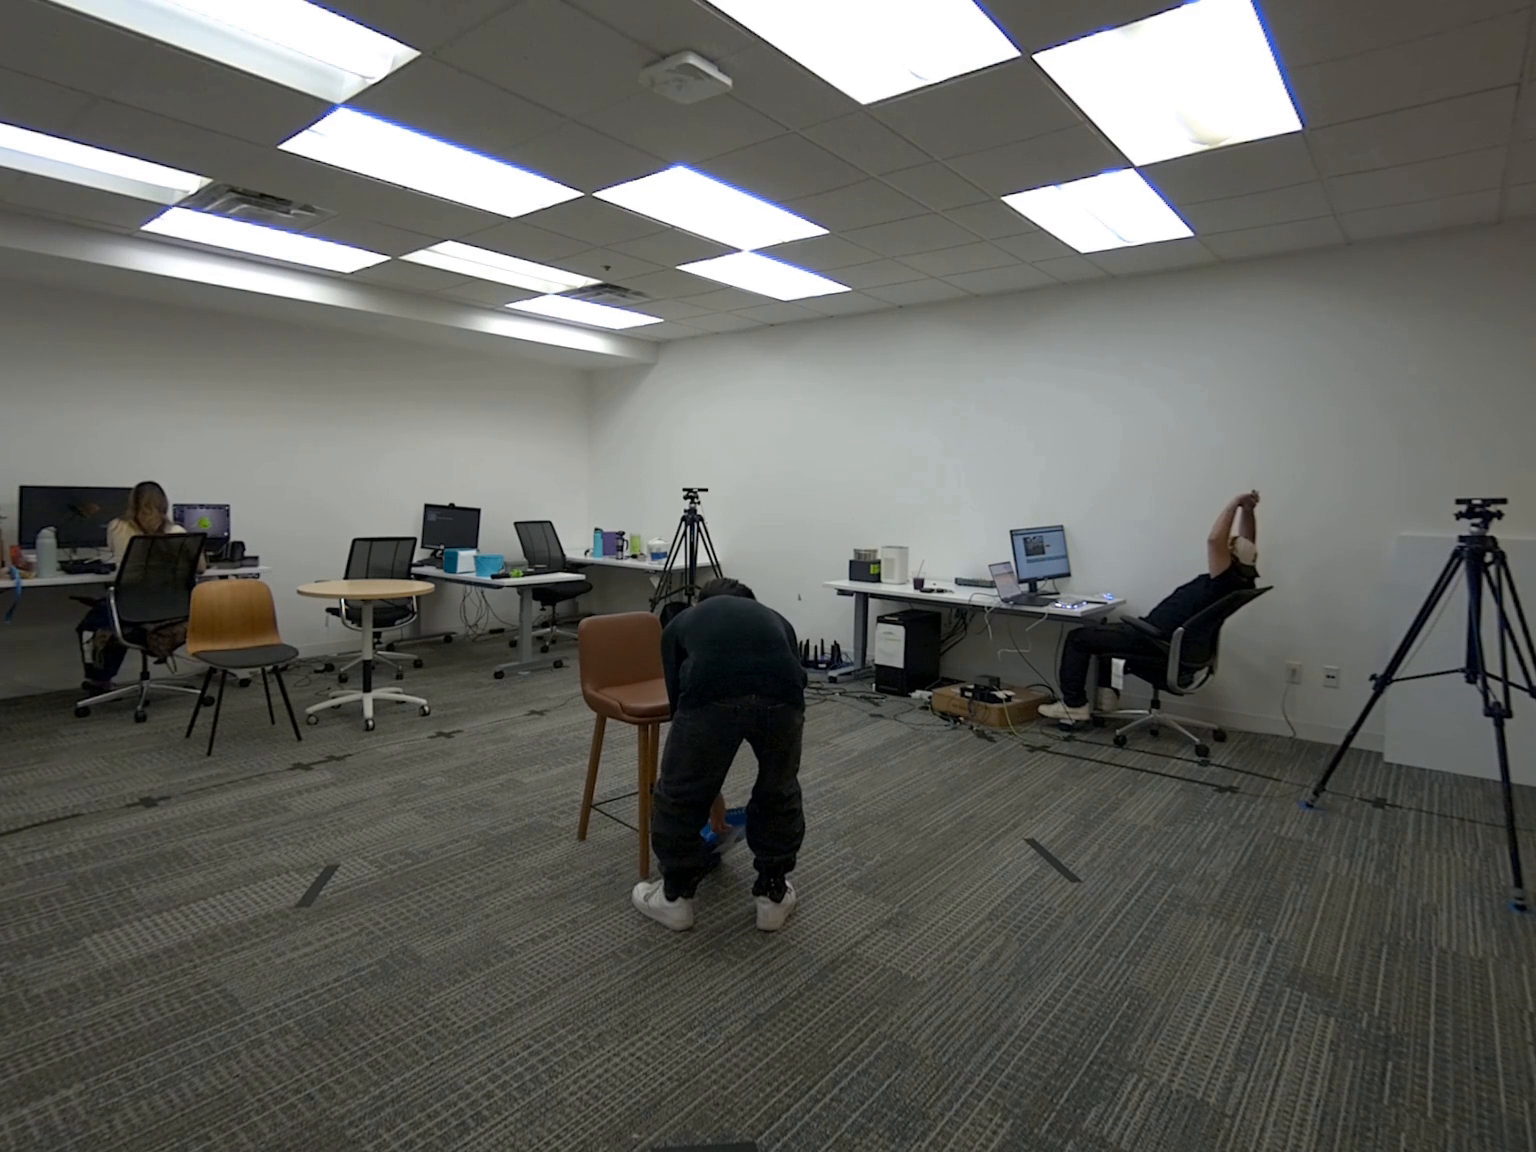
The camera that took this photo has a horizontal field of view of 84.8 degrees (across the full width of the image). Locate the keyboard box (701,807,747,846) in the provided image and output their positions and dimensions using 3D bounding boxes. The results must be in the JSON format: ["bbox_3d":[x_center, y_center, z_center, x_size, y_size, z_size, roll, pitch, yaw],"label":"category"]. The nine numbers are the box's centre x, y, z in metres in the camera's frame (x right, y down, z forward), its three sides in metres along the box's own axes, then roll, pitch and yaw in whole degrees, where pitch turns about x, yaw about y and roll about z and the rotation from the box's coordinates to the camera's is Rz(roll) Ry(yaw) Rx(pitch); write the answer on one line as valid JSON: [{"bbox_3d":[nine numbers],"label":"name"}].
[{"bbox_3d":[-0.178,0.917,3.025,0.171,0.061,0.434,-2,-32,-29],"label":"keyboard box"}]
